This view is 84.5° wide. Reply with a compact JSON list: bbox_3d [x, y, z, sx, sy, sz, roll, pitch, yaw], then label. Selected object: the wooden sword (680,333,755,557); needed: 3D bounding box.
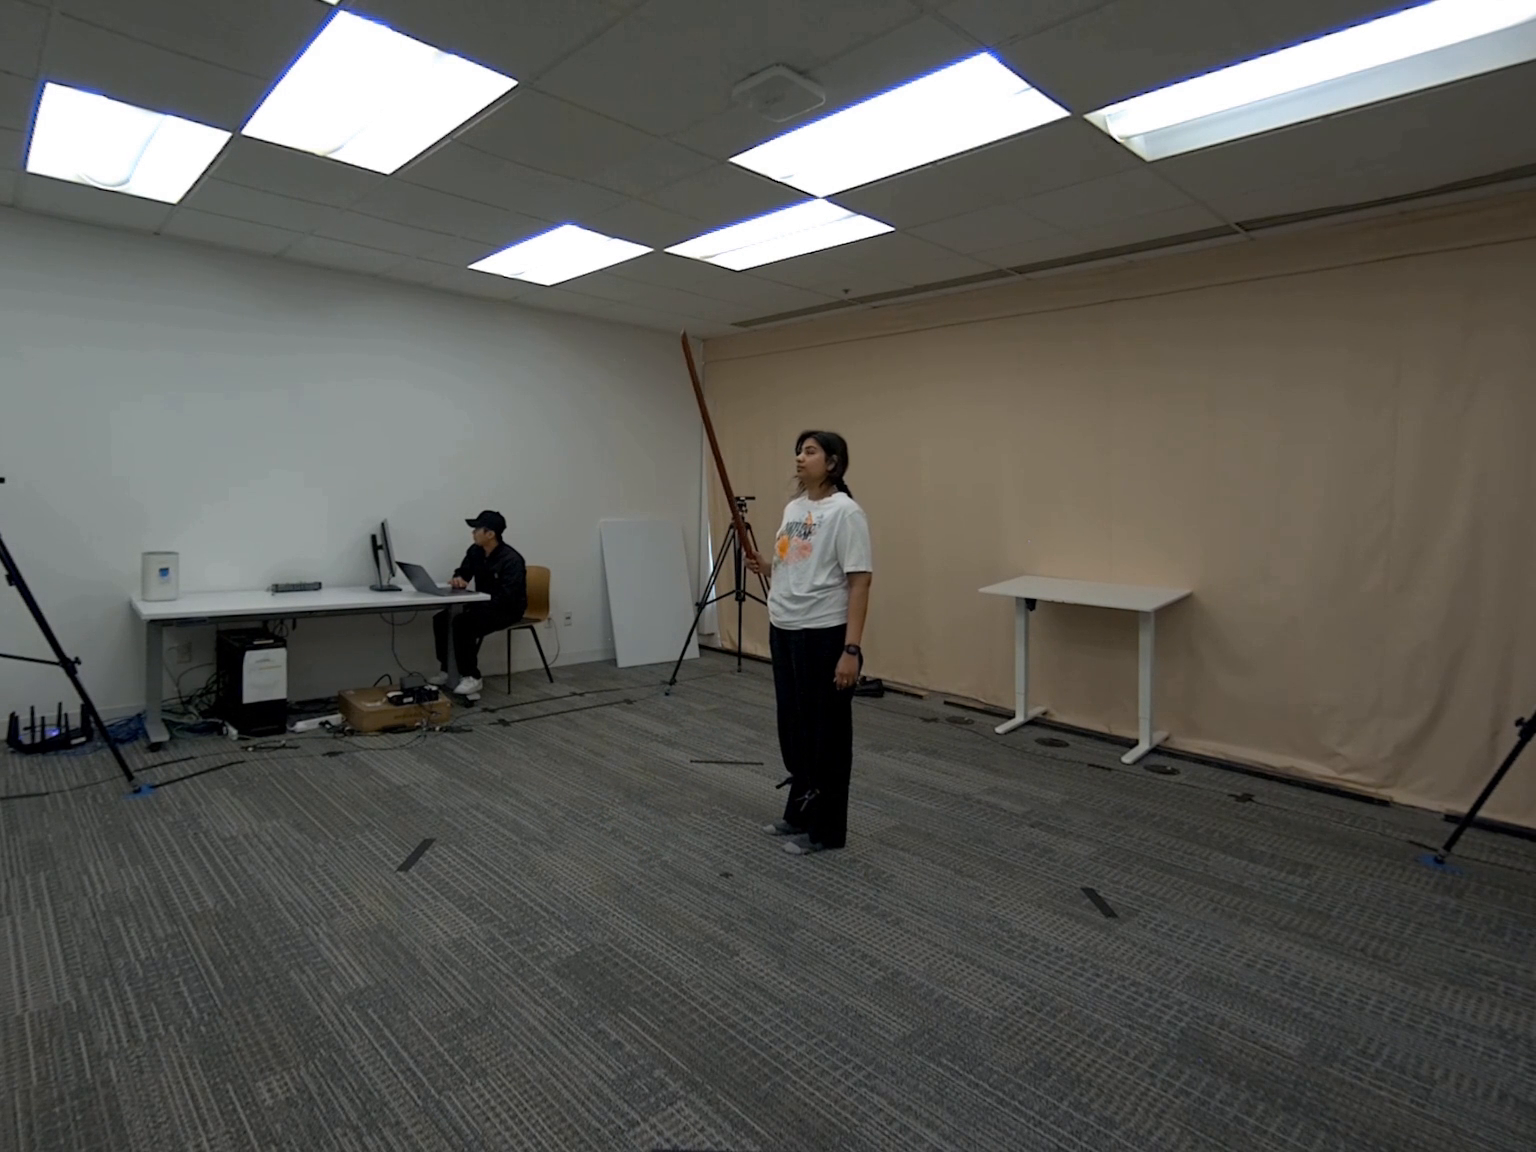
[{"bbox_3d":[-0.197,-0.438,3.188,0.024,1.001,0.053,-31,30,-25],"label":"wooden sword"}]
